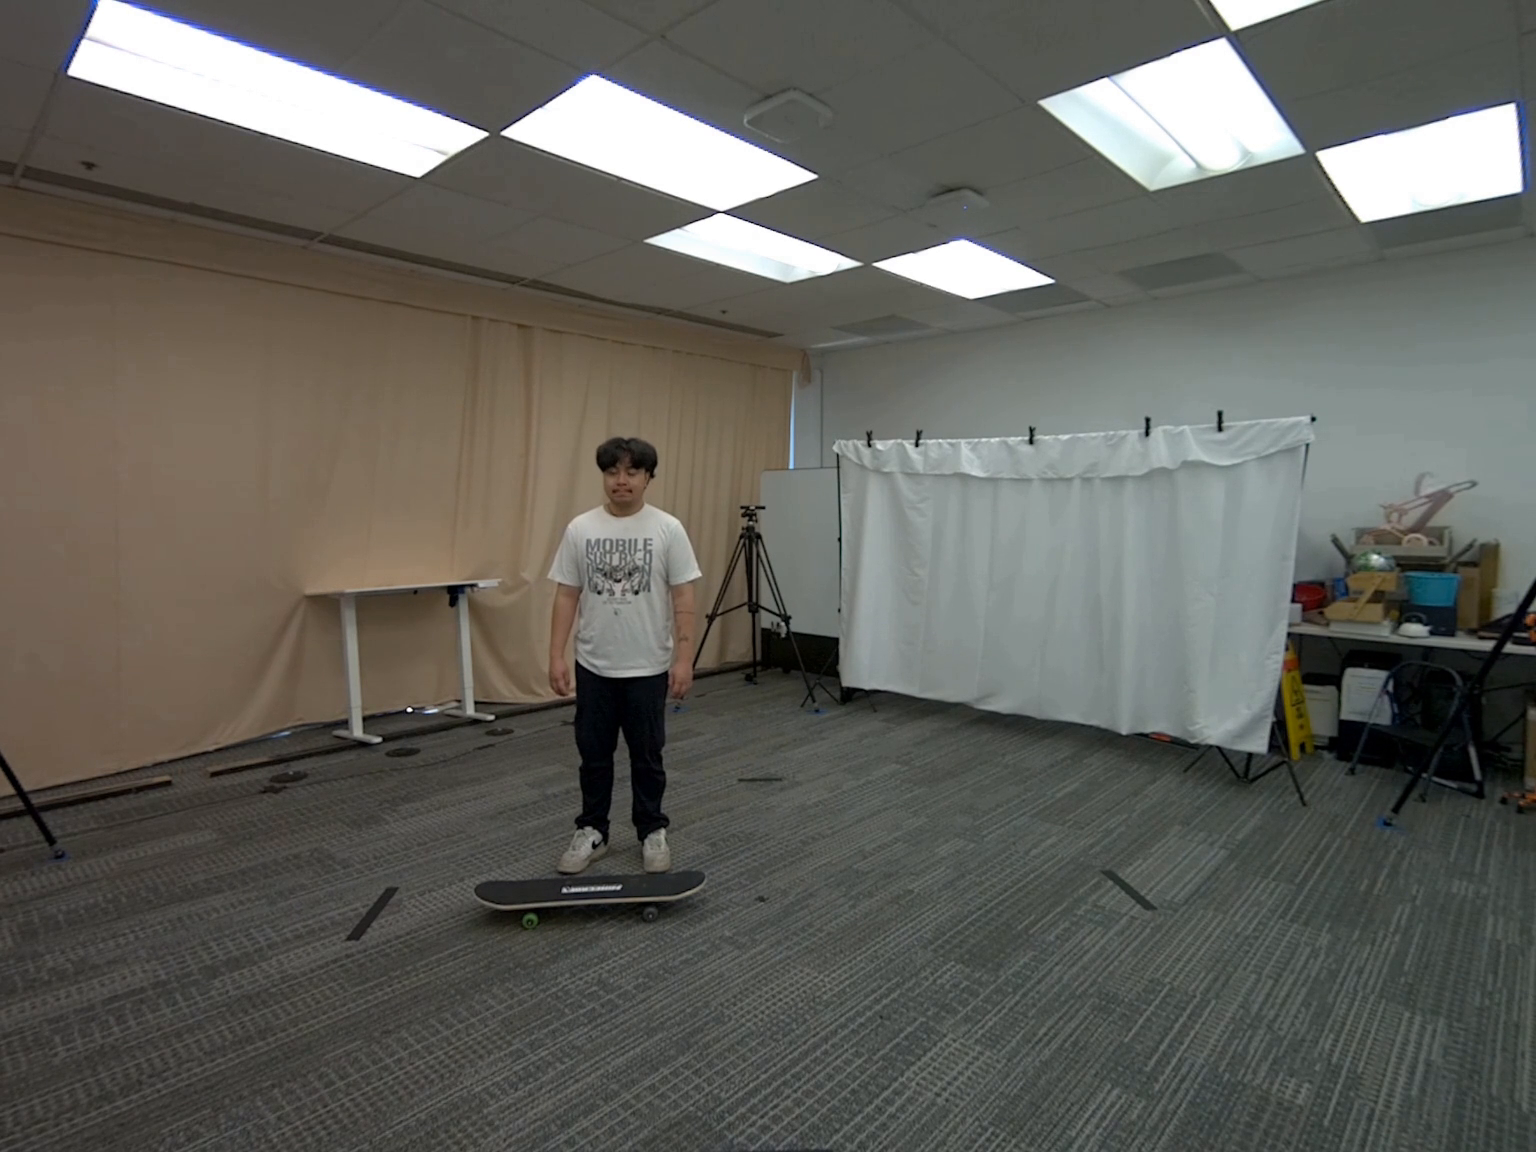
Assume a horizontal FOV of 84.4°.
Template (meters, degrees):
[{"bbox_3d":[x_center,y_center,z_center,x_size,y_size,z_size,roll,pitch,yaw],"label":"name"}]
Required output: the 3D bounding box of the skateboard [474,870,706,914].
[{"bbox_3d":[-0.596,1.096,2.882,0.780,0.110,0.195,-1,6,-6],"label":"skateboard"}]
